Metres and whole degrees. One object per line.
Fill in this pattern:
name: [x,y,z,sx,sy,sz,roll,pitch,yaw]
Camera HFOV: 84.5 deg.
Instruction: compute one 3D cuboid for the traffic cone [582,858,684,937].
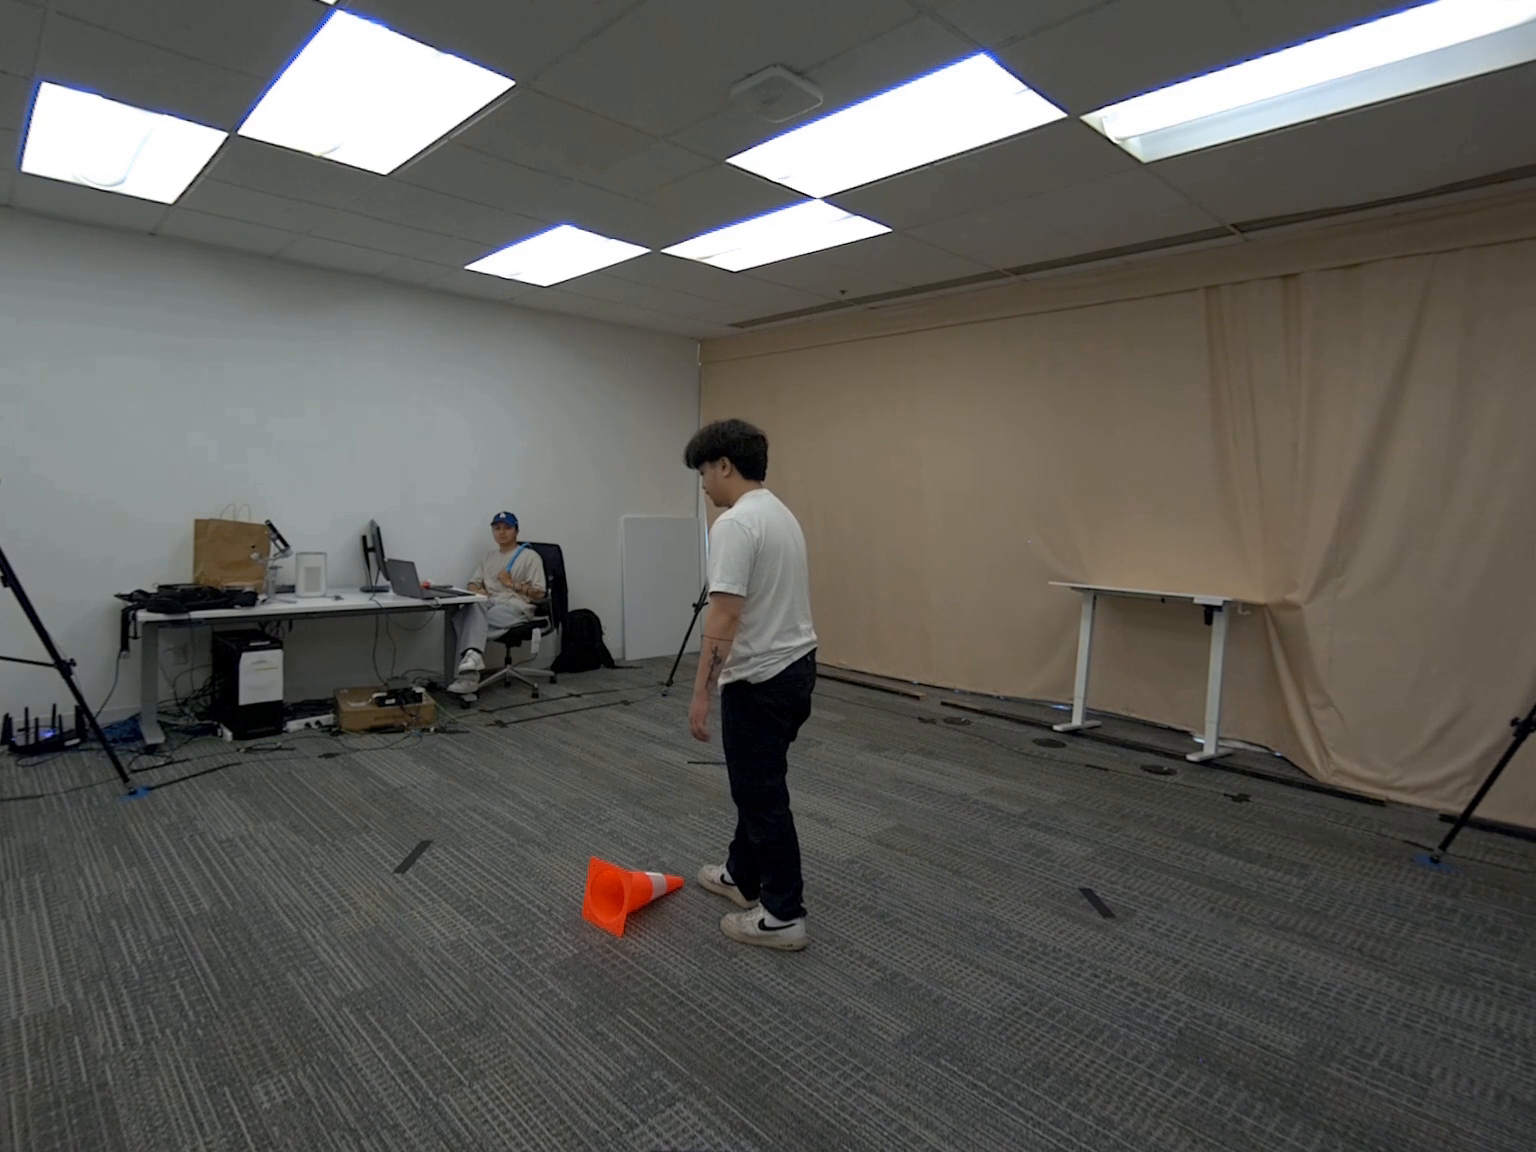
traffic cone: [-0.426,1.070,2.878,0.210,0.204,0.373,6,-7,36]
